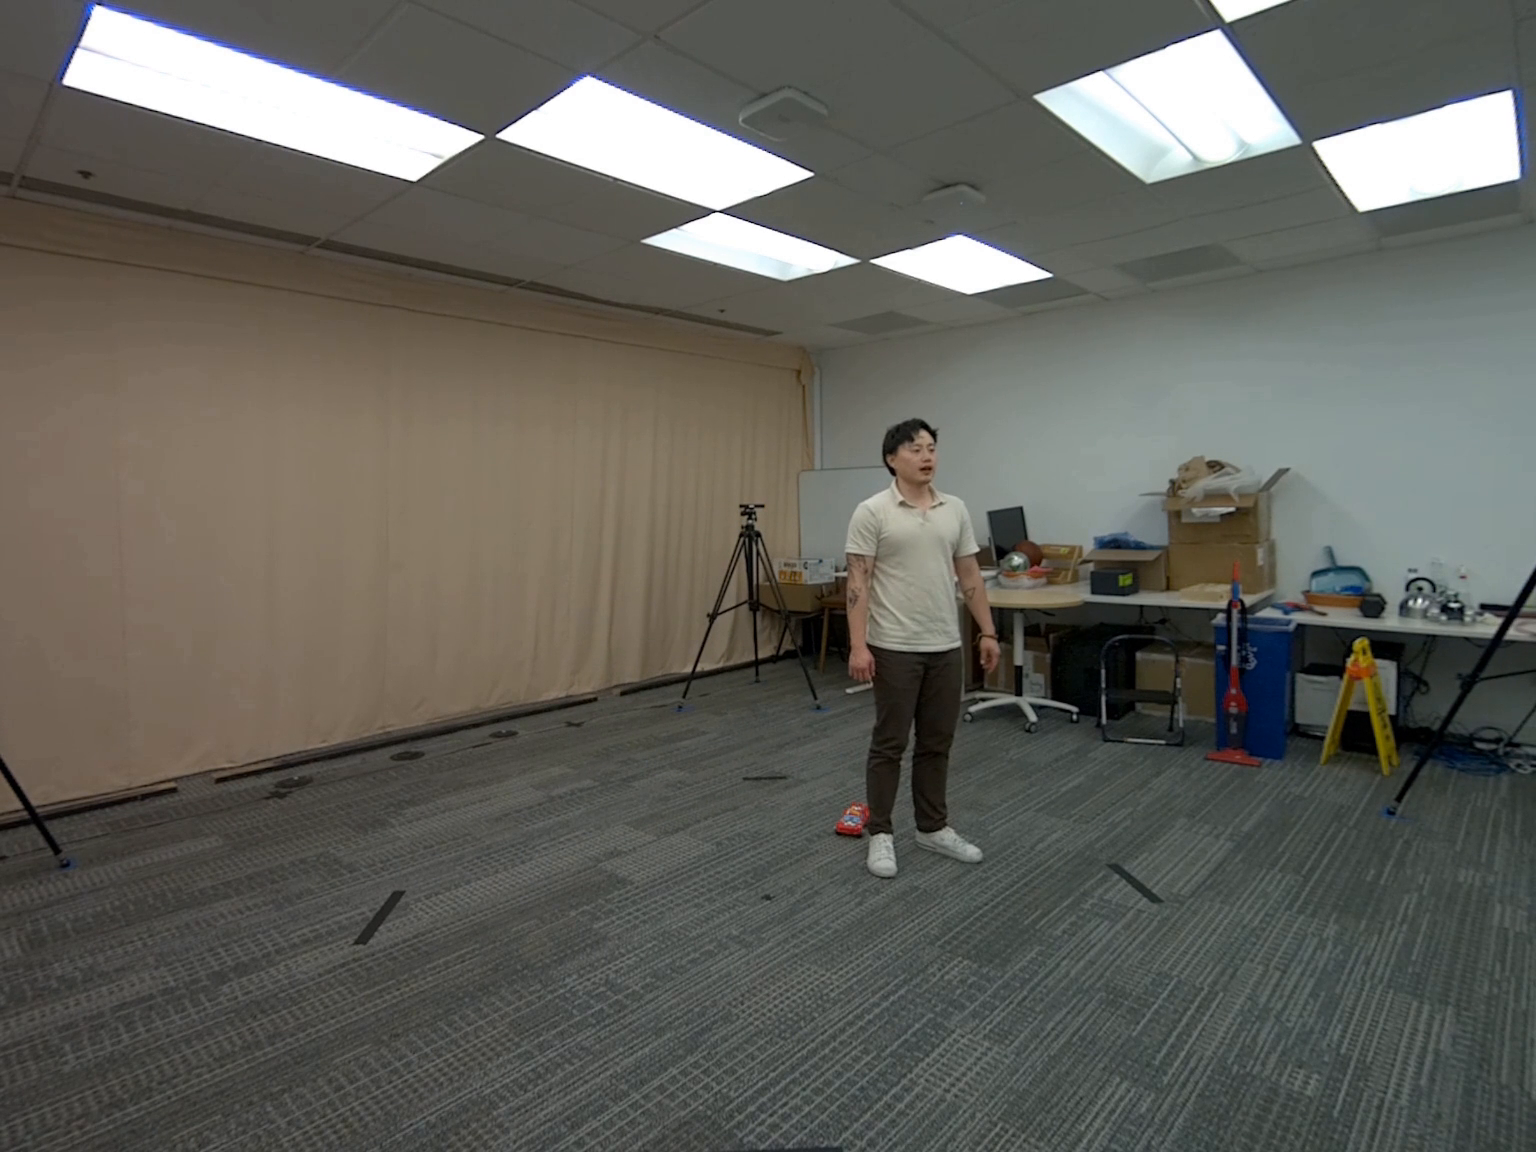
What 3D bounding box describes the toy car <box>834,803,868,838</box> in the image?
[{"bbox_3d":[0.374,1.048,3.613,0.133,0.082,0.252,0,16,19],"label":"toy car"}]
